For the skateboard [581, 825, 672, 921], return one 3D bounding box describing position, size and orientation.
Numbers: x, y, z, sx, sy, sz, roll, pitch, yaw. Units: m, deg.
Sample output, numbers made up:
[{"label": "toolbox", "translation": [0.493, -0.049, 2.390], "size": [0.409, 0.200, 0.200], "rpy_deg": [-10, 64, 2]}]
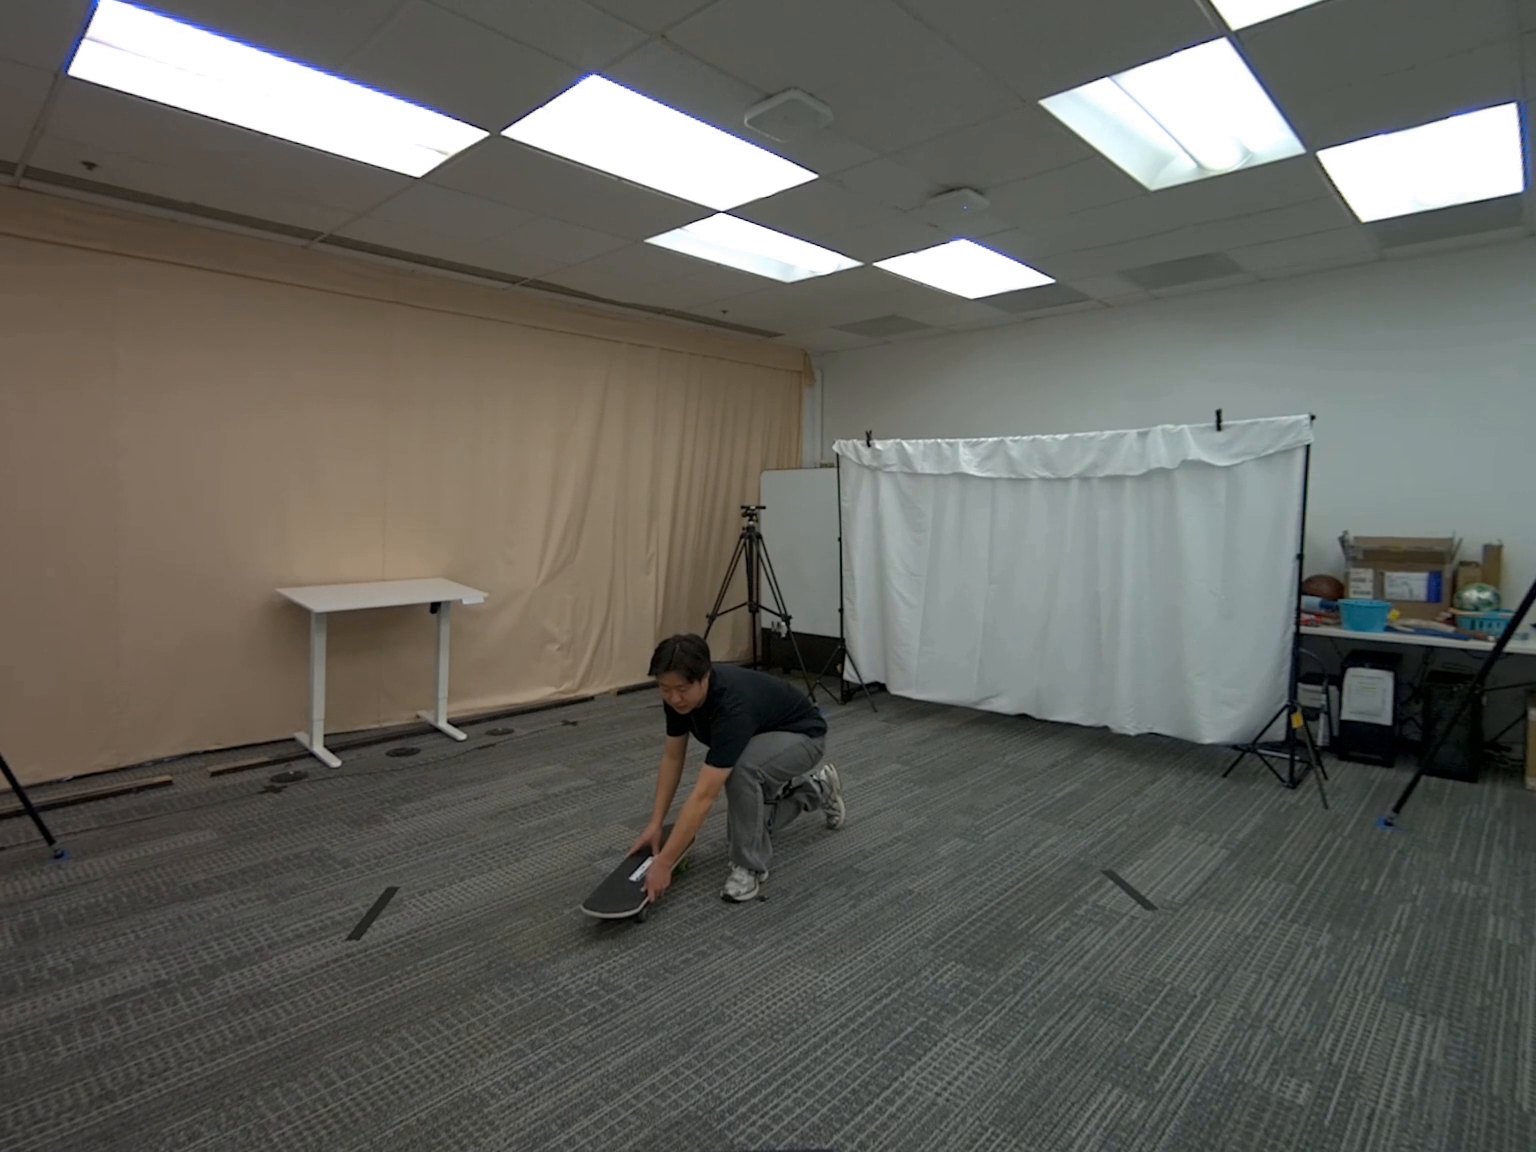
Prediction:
[{"label": "skateboard", "translation": [-0.440, 1.082, 3.036], "size": [0.196, 0.110, 0.775], "rpy_deg": [1, 5, 13]}]
